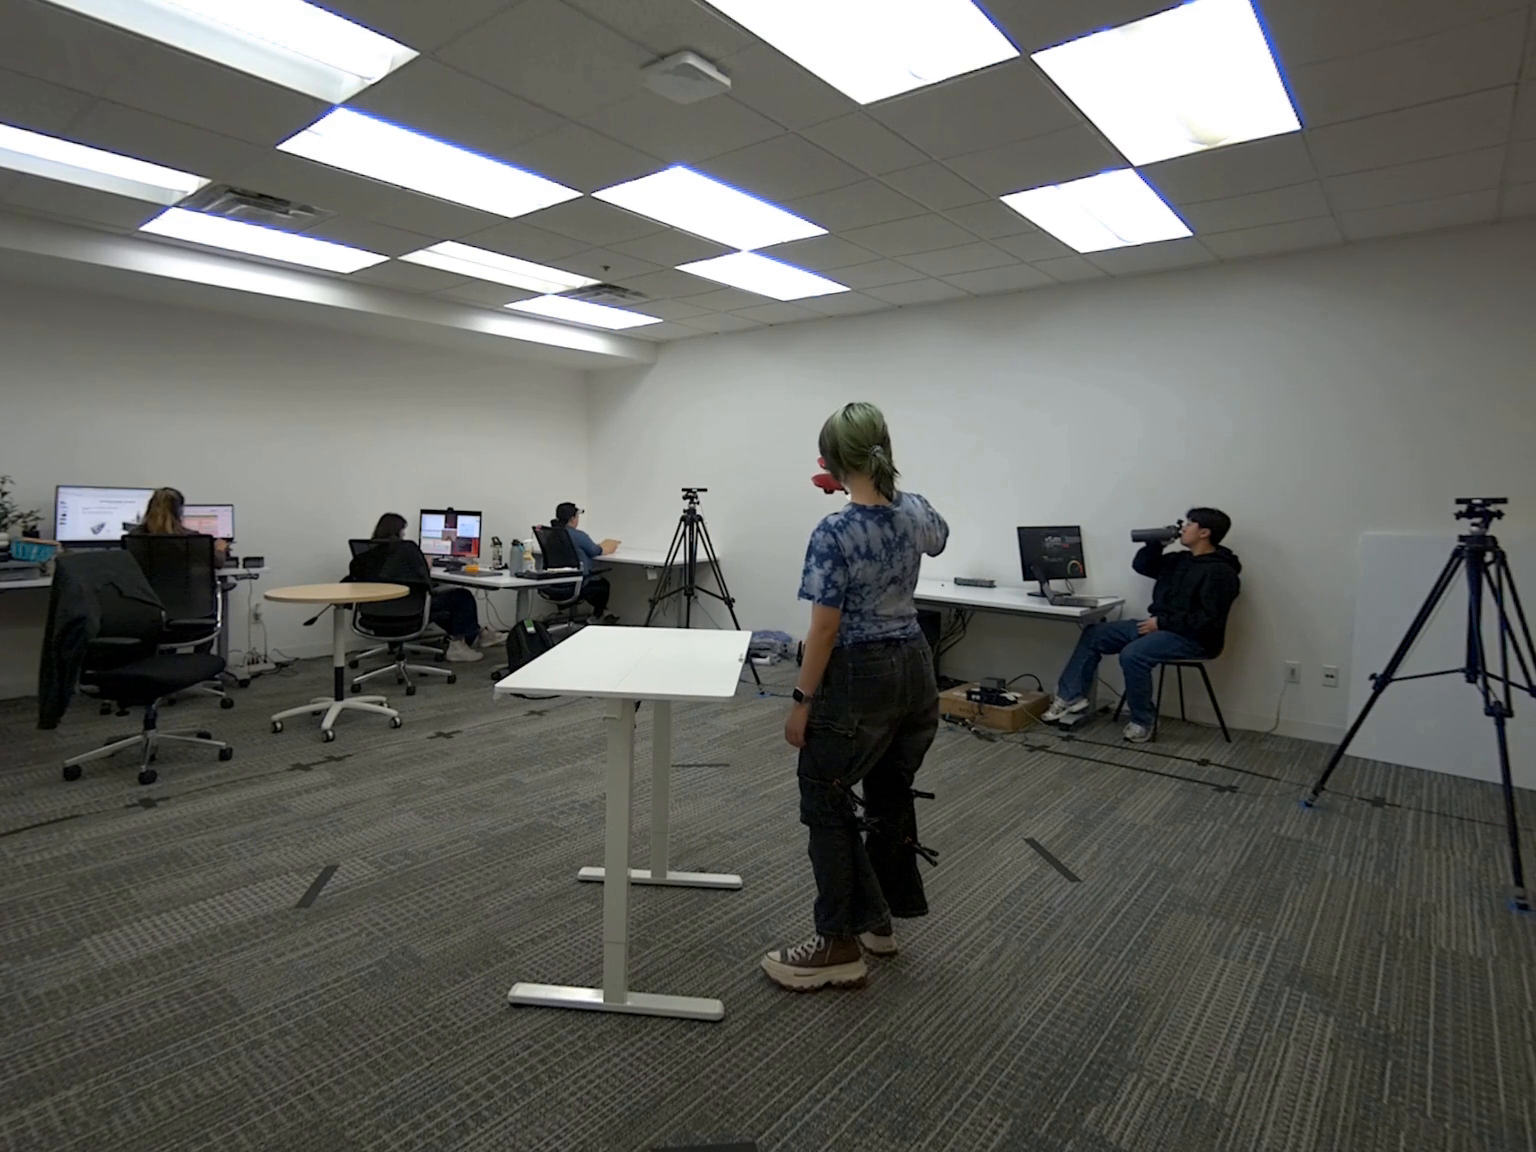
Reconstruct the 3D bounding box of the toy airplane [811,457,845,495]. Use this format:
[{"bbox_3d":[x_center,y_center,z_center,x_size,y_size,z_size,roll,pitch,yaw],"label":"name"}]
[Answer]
[{"bbox_3d":[0.302,-0.332,3.013,0.245,0.154,0.270,-14,34,-40],"label":"toy airplane"}]
